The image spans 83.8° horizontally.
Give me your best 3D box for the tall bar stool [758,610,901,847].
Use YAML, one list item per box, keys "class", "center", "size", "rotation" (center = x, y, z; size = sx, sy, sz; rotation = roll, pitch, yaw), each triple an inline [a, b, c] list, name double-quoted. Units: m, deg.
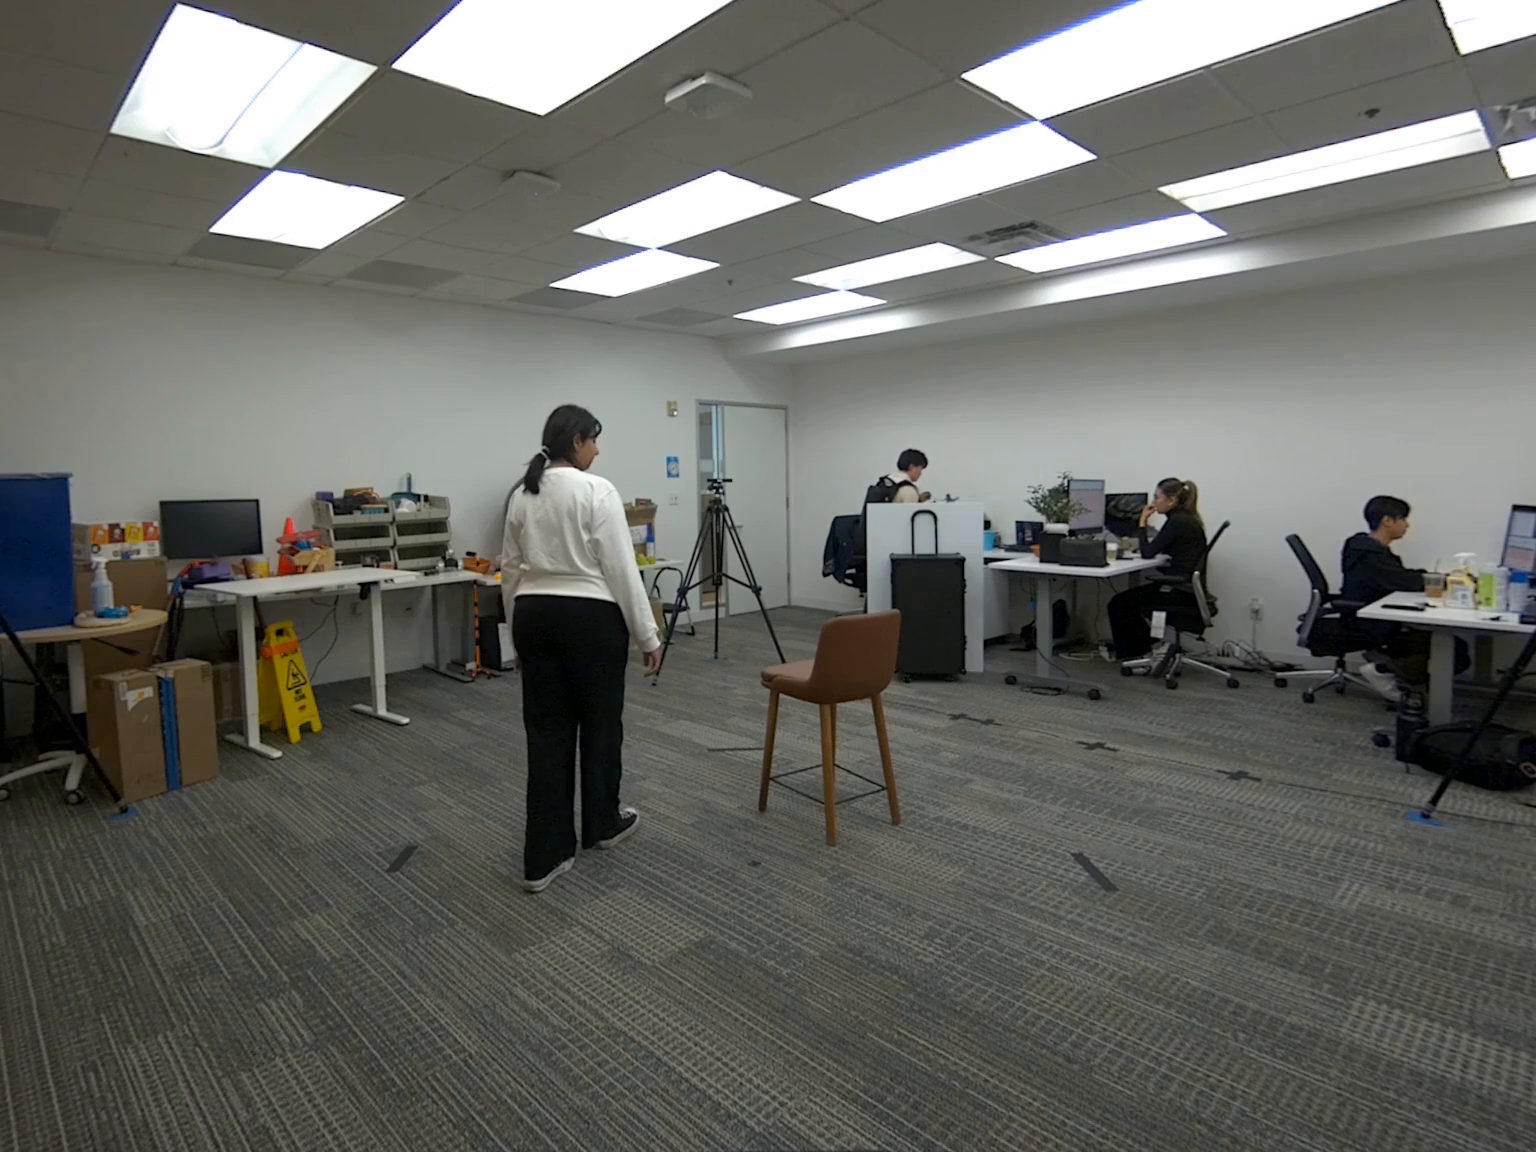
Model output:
- class: "tall bar stool"
  center: [0.254, 0.562, 3.505]
  size: [0.445, 0.885, 0.482]
  rotation: [-4, 7, -36]
